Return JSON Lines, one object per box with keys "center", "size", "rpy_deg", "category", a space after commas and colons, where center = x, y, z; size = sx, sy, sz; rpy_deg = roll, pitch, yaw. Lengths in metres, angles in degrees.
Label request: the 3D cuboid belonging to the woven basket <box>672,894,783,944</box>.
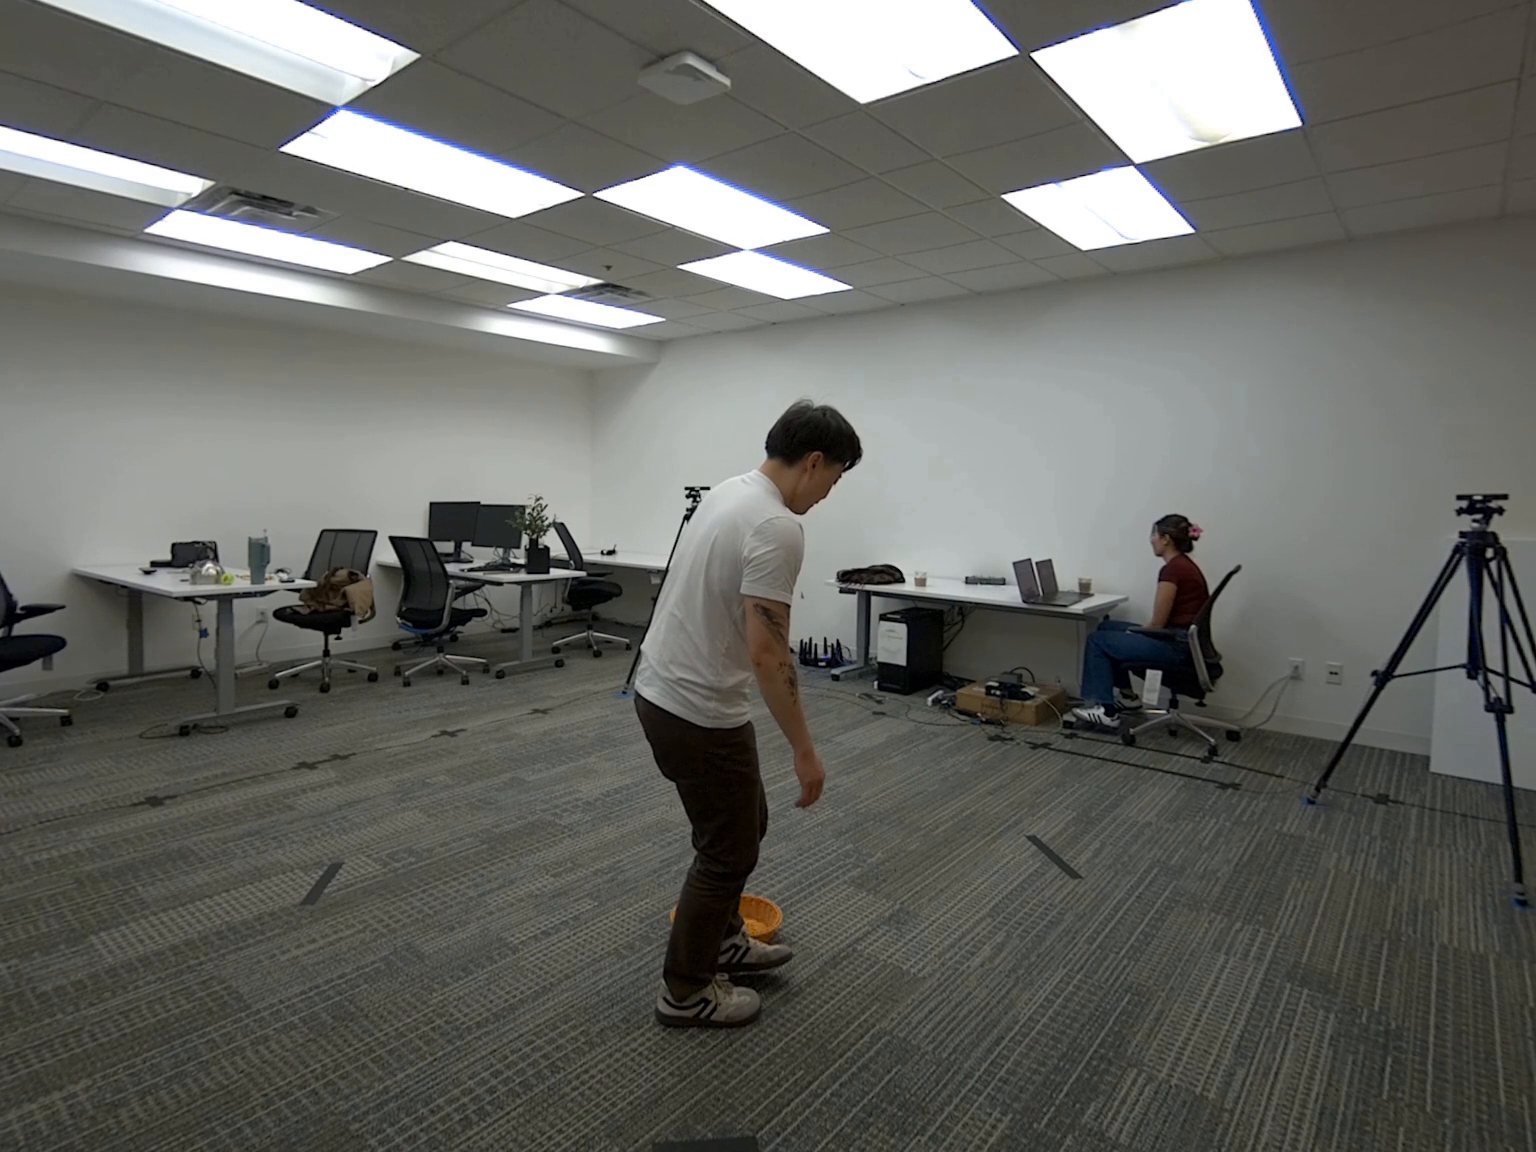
{"center": [-0.135, 1.070, 2.623], "size": [0.347, 0.073, 0.256], "rpy_deg": [0, 6, -8], "category": "woven basket"}
